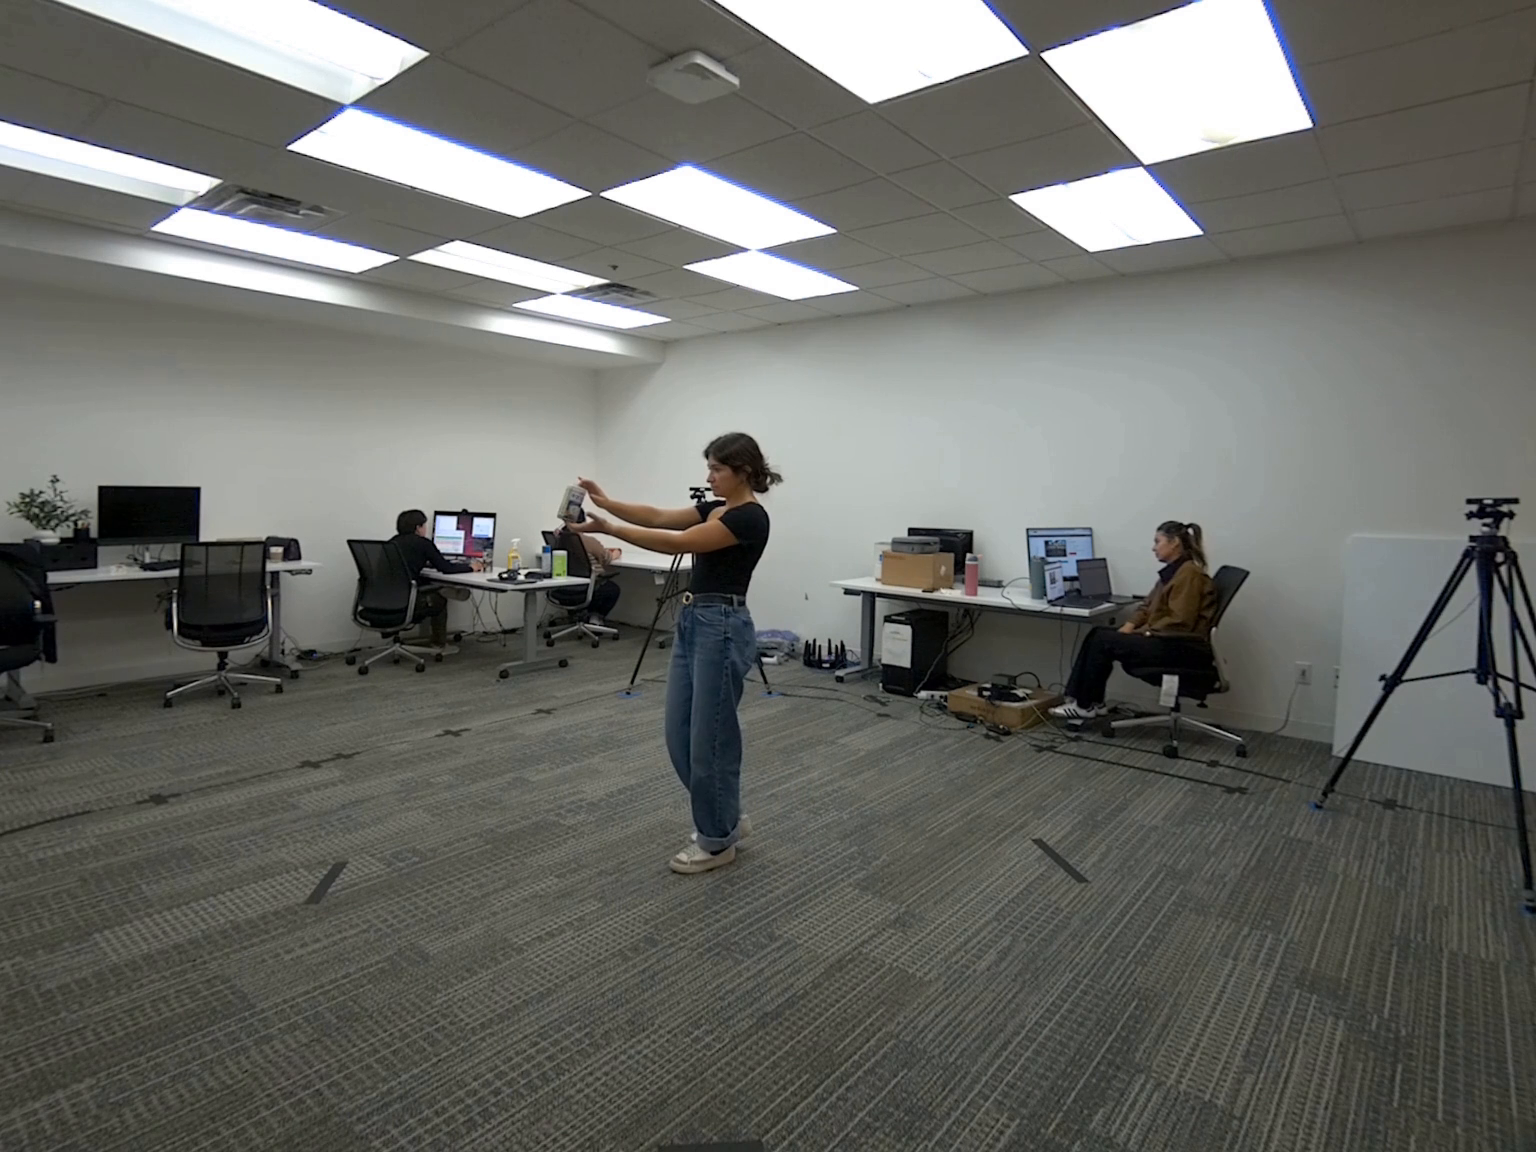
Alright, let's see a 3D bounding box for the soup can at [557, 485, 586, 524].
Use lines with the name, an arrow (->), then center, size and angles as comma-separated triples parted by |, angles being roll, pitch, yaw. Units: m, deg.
soup can -> -0.671, -0.249, 2.877 | 0.067, 0.121, 0.067 | 17, -1, -2
